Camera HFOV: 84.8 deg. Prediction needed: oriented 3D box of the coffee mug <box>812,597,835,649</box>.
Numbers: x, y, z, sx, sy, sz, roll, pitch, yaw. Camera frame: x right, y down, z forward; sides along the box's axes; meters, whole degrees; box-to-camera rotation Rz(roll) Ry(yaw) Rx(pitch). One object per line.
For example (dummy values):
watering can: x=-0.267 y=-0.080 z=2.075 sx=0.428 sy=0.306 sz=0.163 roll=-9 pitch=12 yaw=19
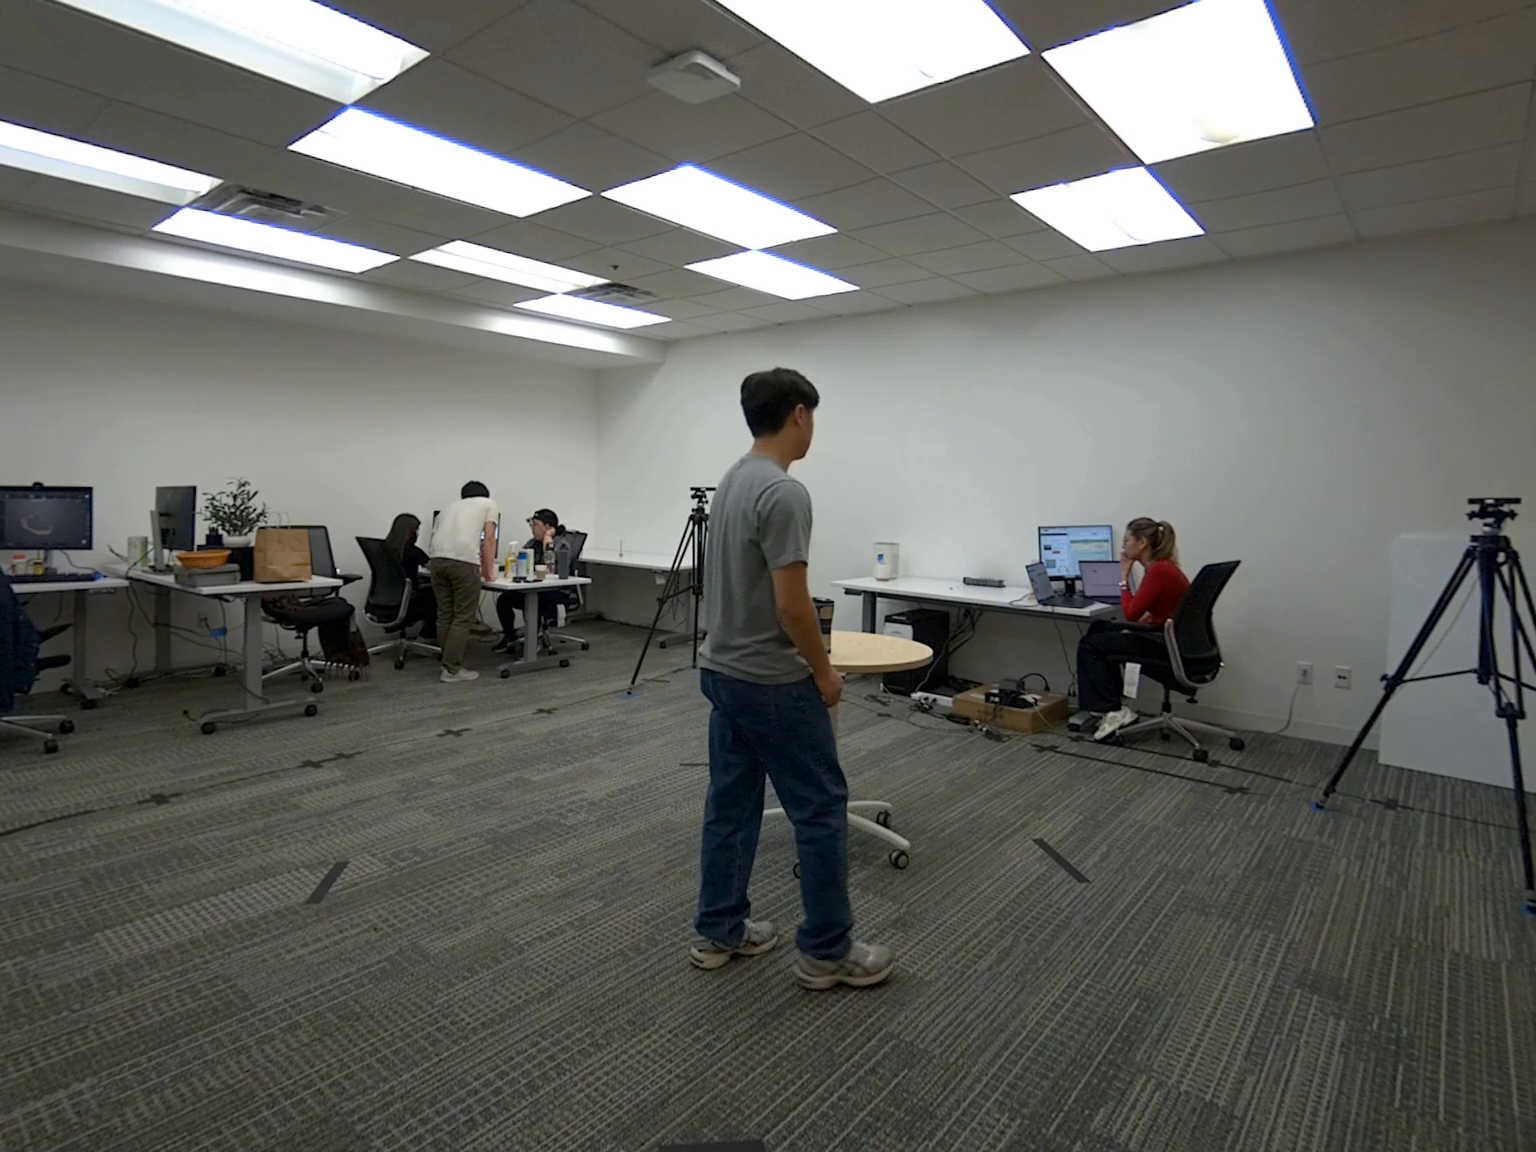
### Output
coffee mug: x=0.177 y=0.185 z=3.171 sx=0.118 sy=0.202 sz=0.091 roll=4 pitch=5 yaw=-32
